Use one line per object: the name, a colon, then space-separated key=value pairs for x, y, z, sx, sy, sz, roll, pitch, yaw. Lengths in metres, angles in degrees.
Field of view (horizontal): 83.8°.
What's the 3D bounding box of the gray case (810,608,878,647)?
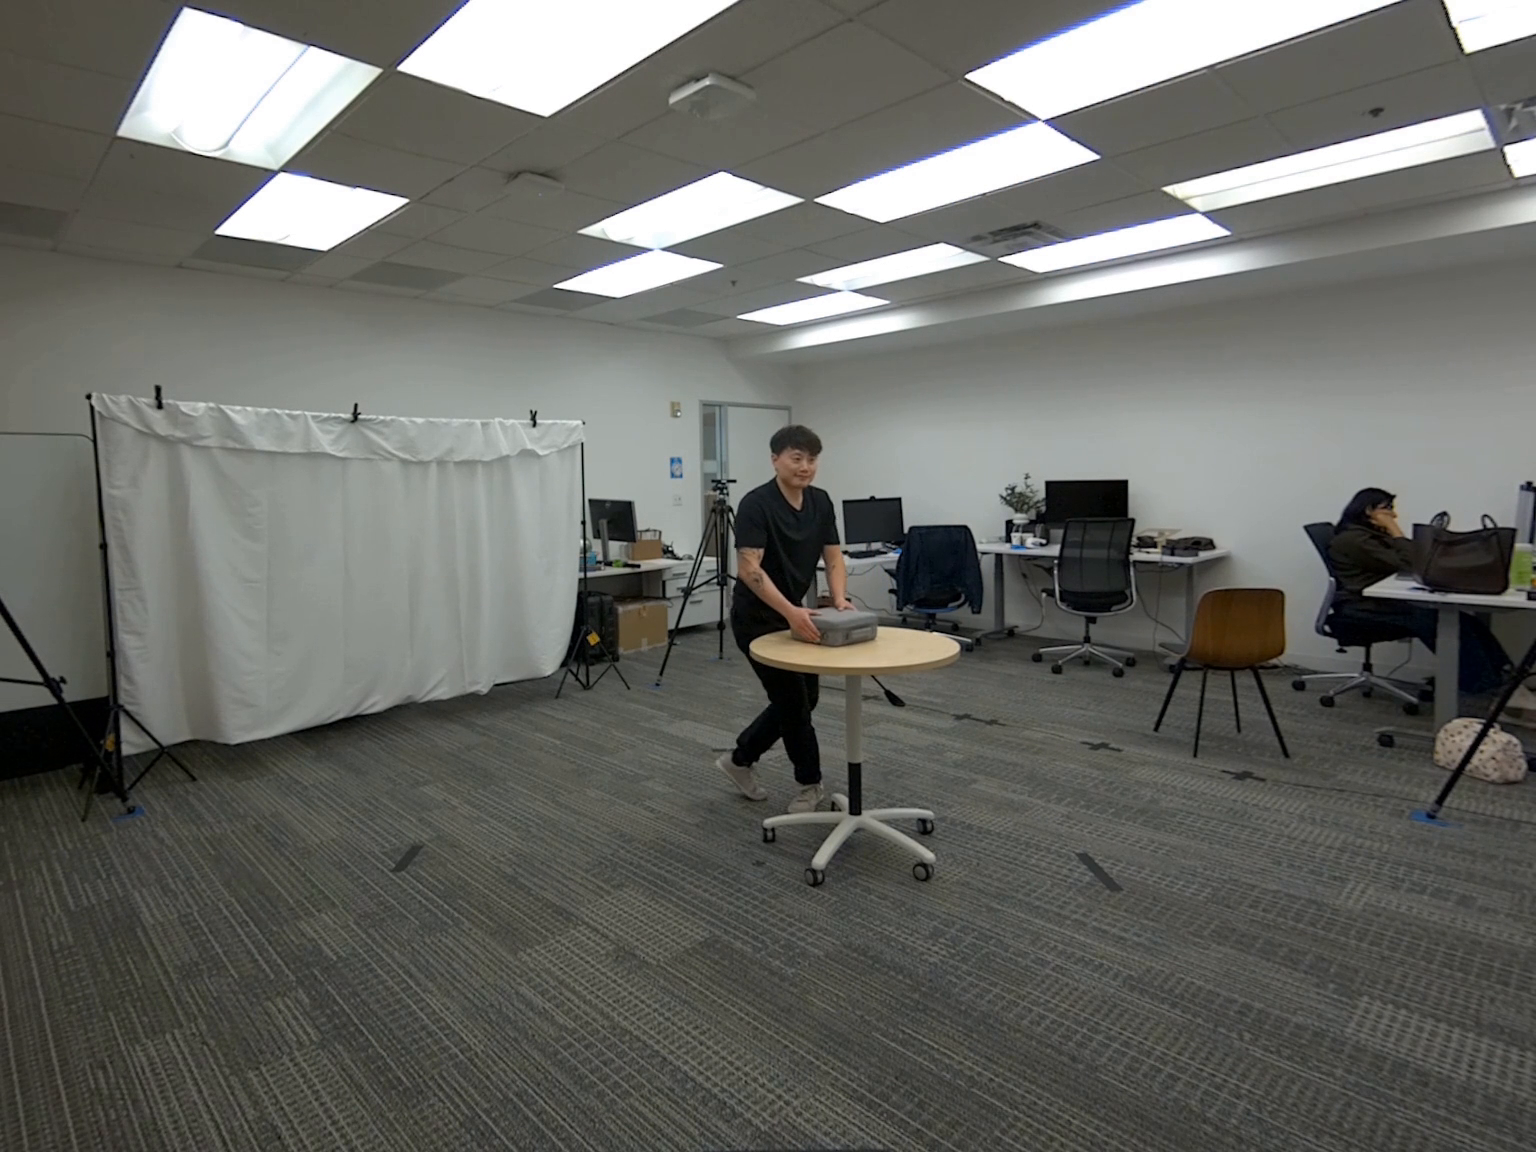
gray case: x=0.253 y=0.193 z=3.248 sx=0.250 sy=0.104 sz=0.269 roll=-5 pitch=7 yaw=-40
